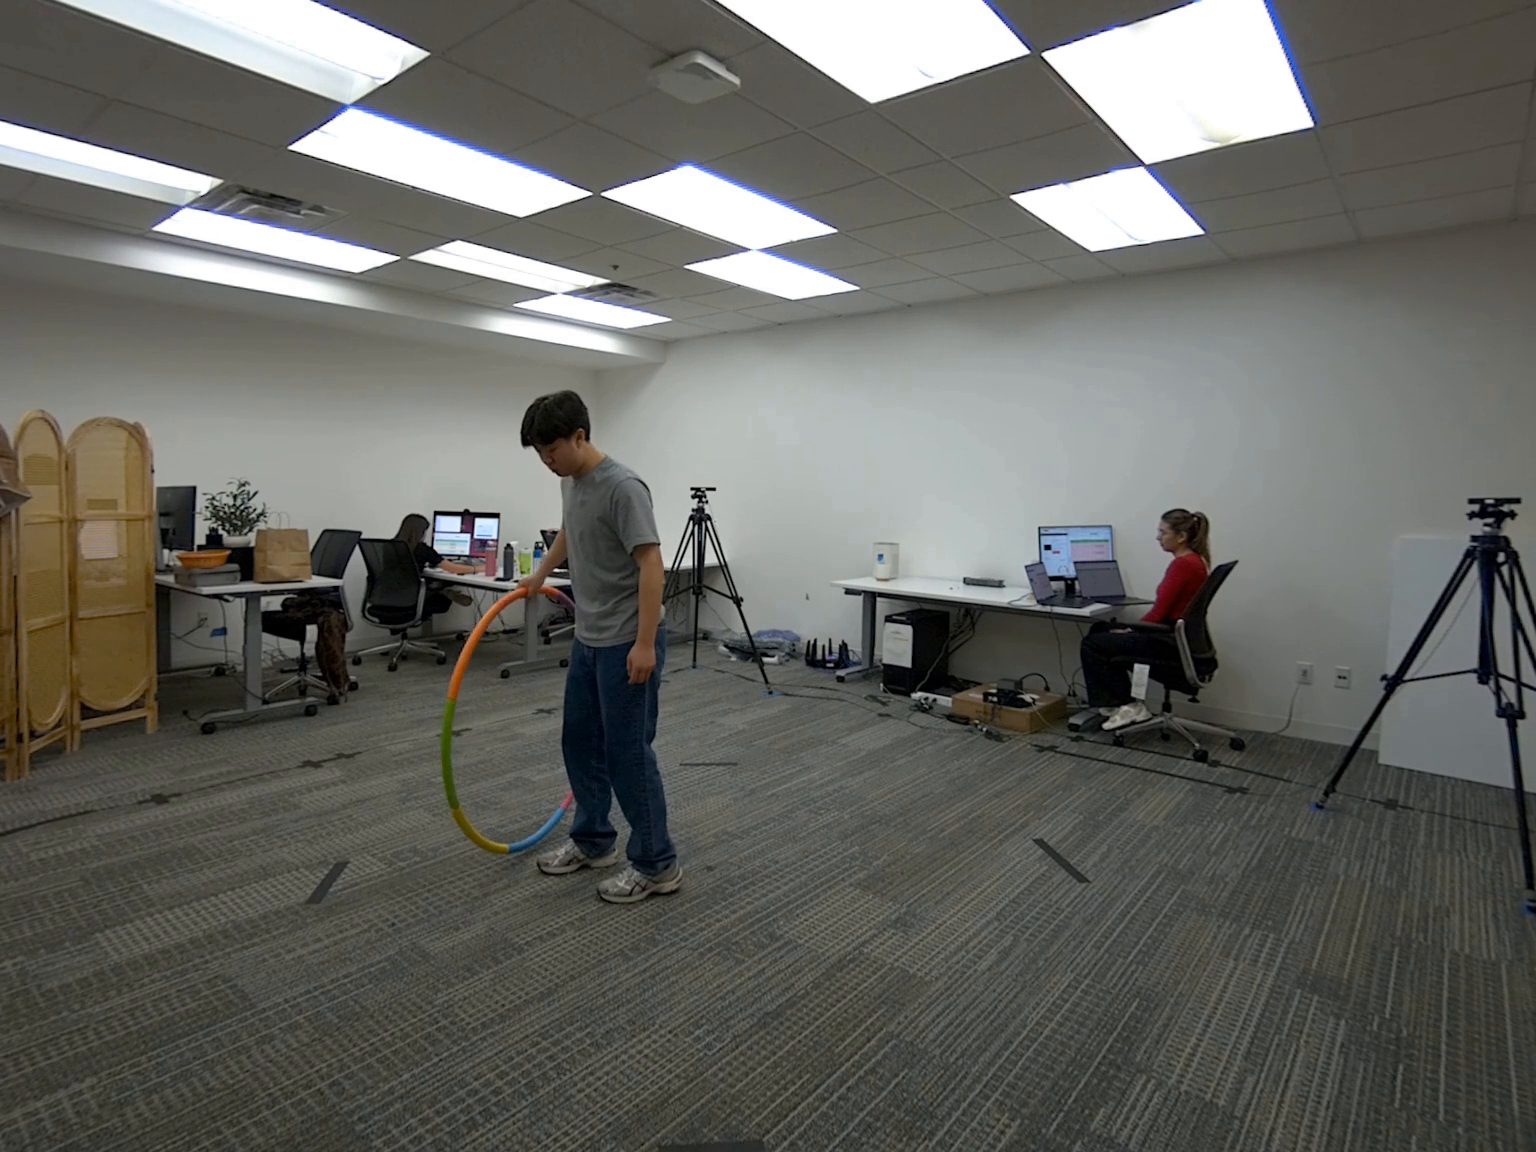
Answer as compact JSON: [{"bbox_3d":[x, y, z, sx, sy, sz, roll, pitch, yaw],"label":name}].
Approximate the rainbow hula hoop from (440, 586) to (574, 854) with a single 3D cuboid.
[{"bbox_3d":[-0.897,0.540,3.205,0.036,0.976,0.959,1,4,21],"label":"rainbow hula hoop"}]
